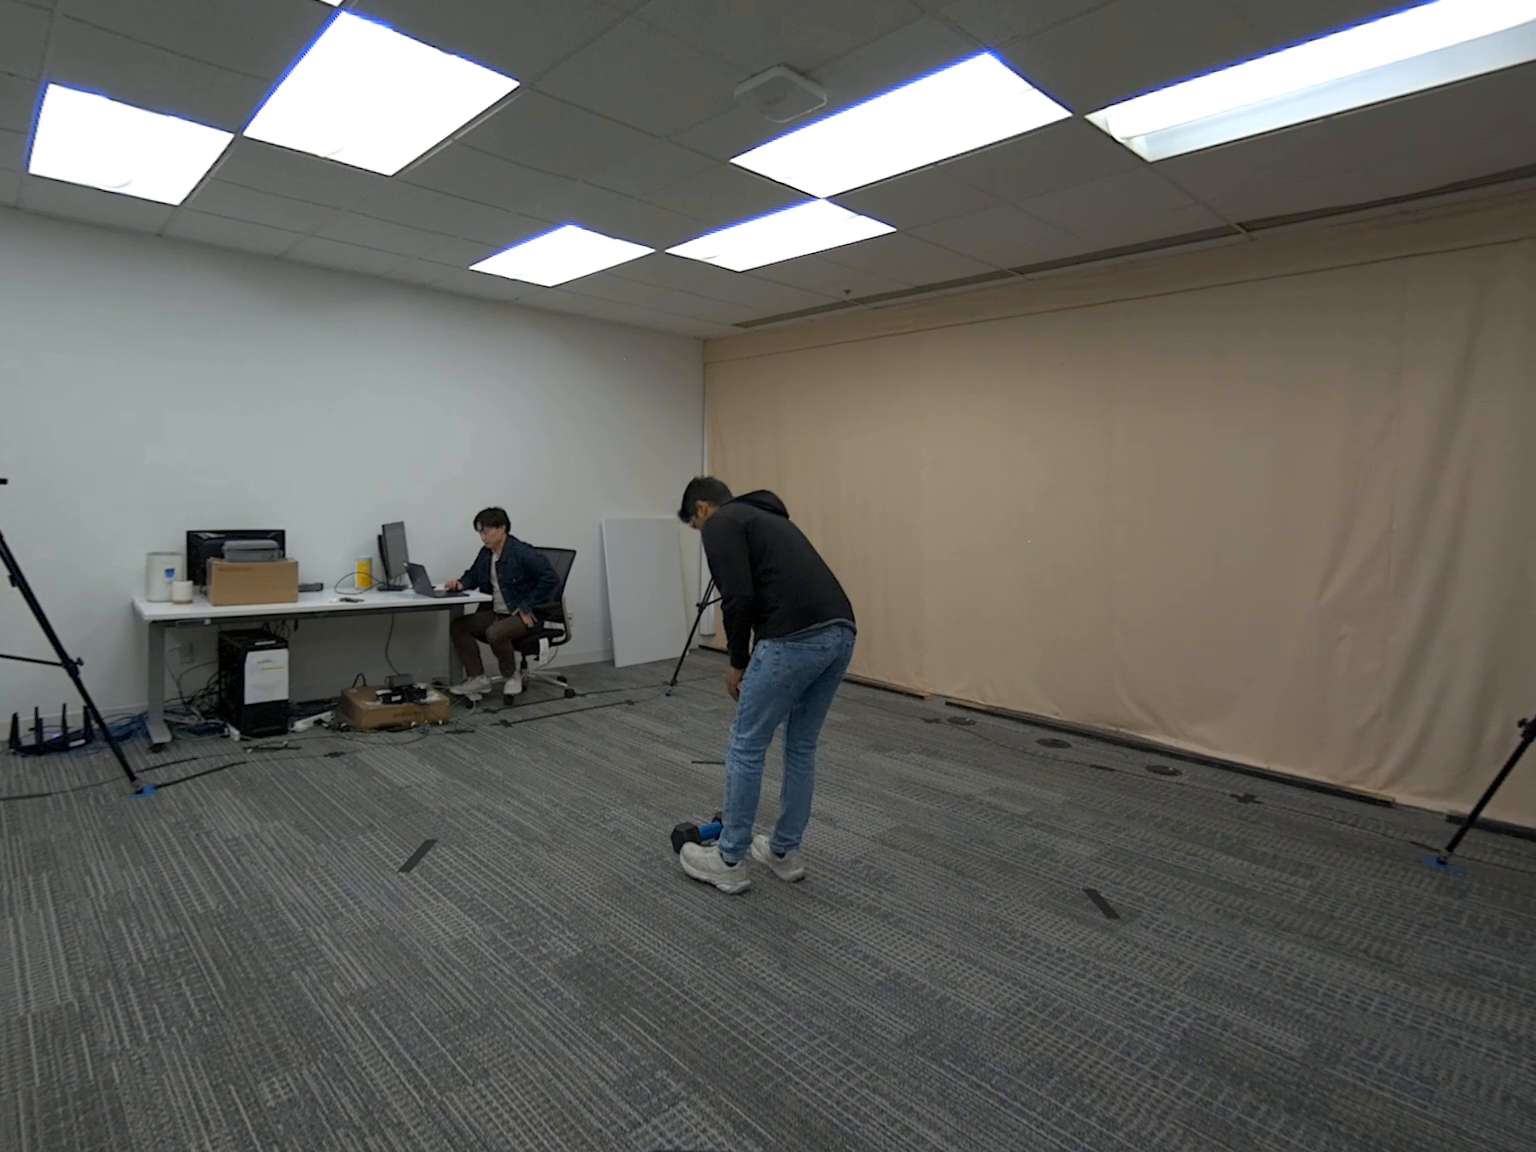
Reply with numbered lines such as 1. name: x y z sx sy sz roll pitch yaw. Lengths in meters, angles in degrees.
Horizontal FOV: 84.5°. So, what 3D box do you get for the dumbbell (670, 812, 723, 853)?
1. dumbbell: -0.254 1.026 3.368 0.287 0.122 0.112 -4 35 -43
